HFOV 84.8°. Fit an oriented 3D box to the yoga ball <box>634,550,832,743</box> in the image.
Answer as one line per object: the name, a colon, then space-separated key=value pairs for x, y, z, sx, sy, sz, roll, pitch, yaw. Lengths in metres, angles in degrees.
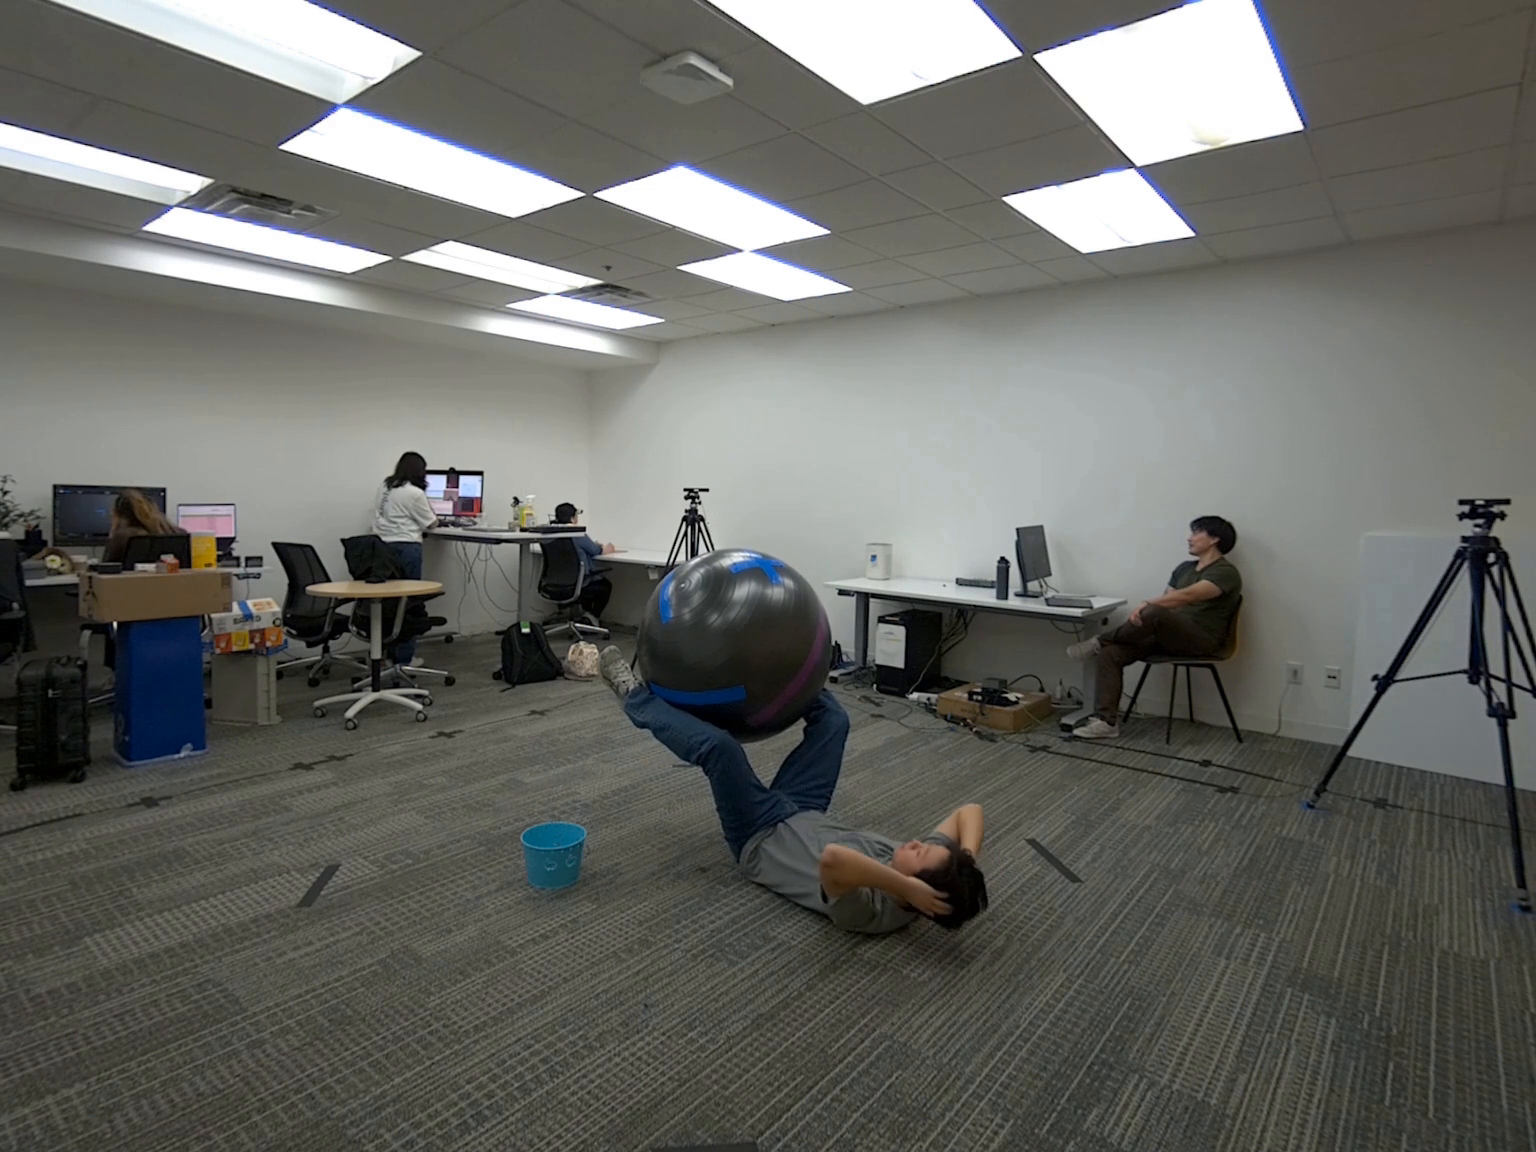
yoga ball: x=-0.140 y=0.270 z=3.325 sx=0.757 sy=0.756 sz=0.761 roll=1 pitch=4 yaw=-2
